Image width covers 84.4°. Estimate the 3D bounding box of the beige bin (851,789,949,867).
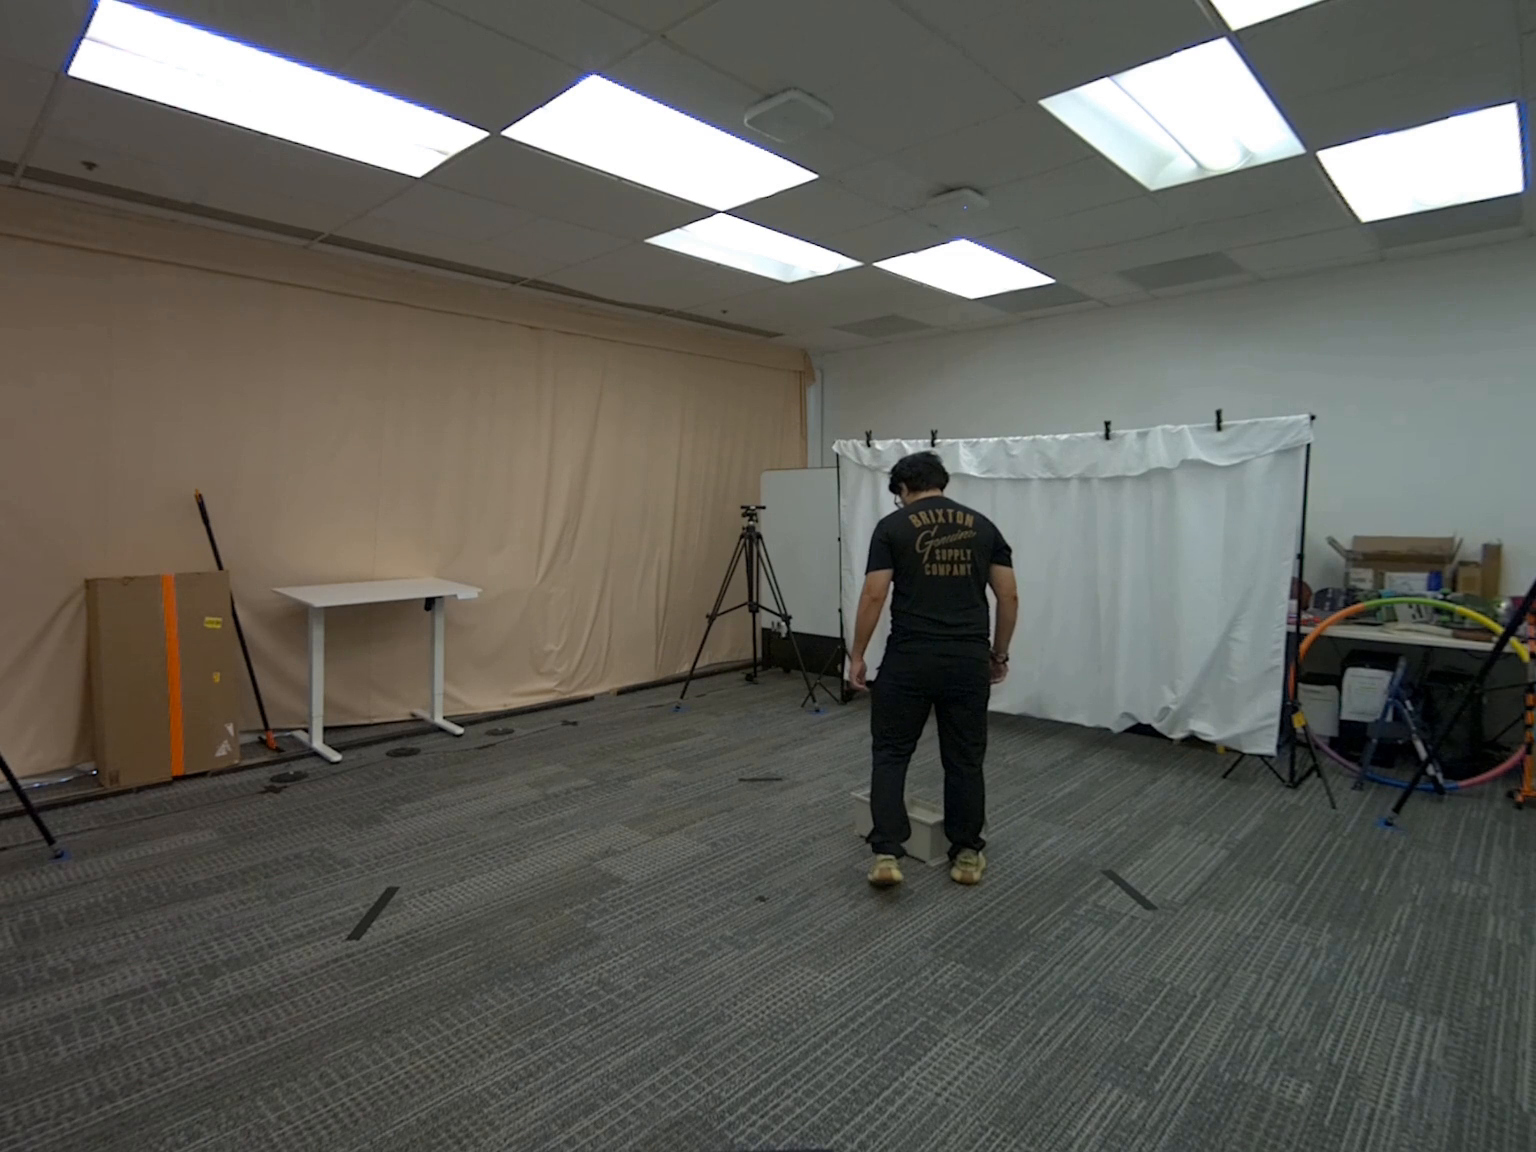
[{"bbox_3d":[0.633,1.010,3.508,0.366,0.188,0.436,-6,8,-40],"label":"beige bin"}]
